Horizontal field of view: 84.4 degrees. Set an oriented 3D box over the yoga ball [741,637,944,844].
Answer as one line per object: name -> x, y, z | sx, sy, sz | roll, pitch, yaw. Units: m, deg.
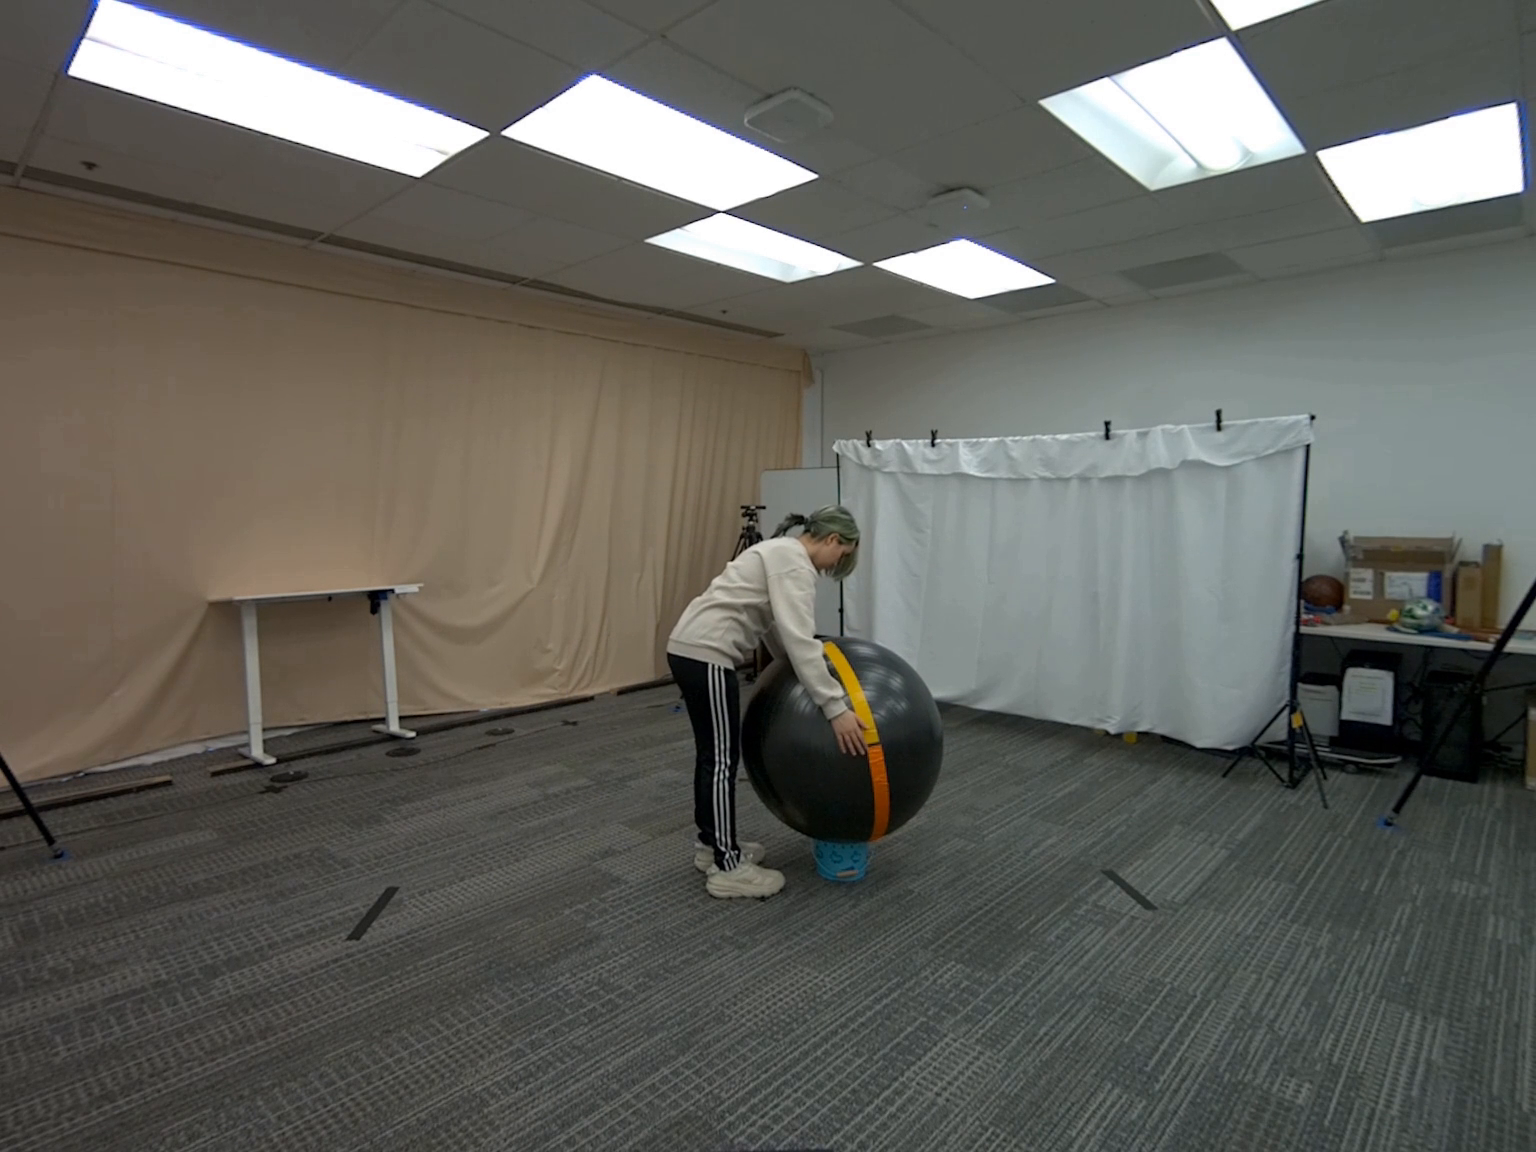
yoga ball -> 0.289, 0.617, 3.182 | 0.757, 0.756, 0.761 | 0, 4, -2
